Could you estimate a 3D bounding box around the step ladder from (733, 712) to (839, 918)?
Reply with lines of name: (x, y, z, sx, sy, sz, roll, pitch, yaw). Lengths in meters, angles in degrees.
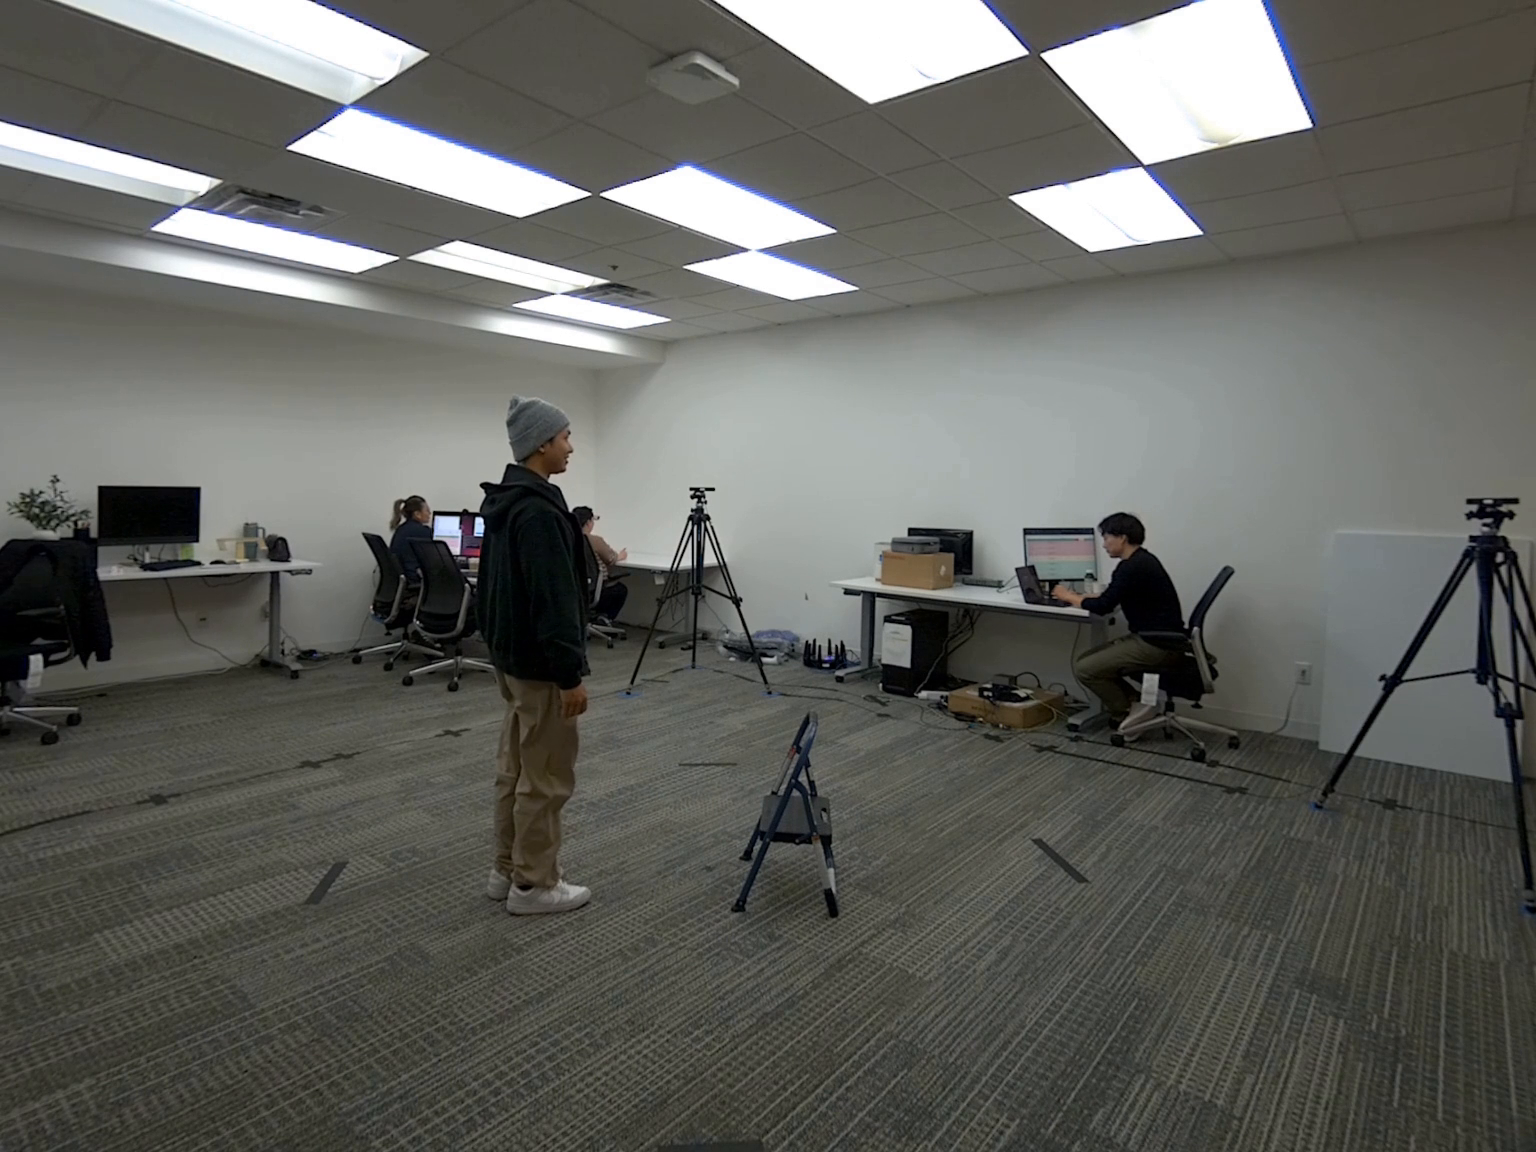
step ladder: (0.066, 0.787, 2.966, 0.351, 0.605, 0.430, 1, 3, 3)
